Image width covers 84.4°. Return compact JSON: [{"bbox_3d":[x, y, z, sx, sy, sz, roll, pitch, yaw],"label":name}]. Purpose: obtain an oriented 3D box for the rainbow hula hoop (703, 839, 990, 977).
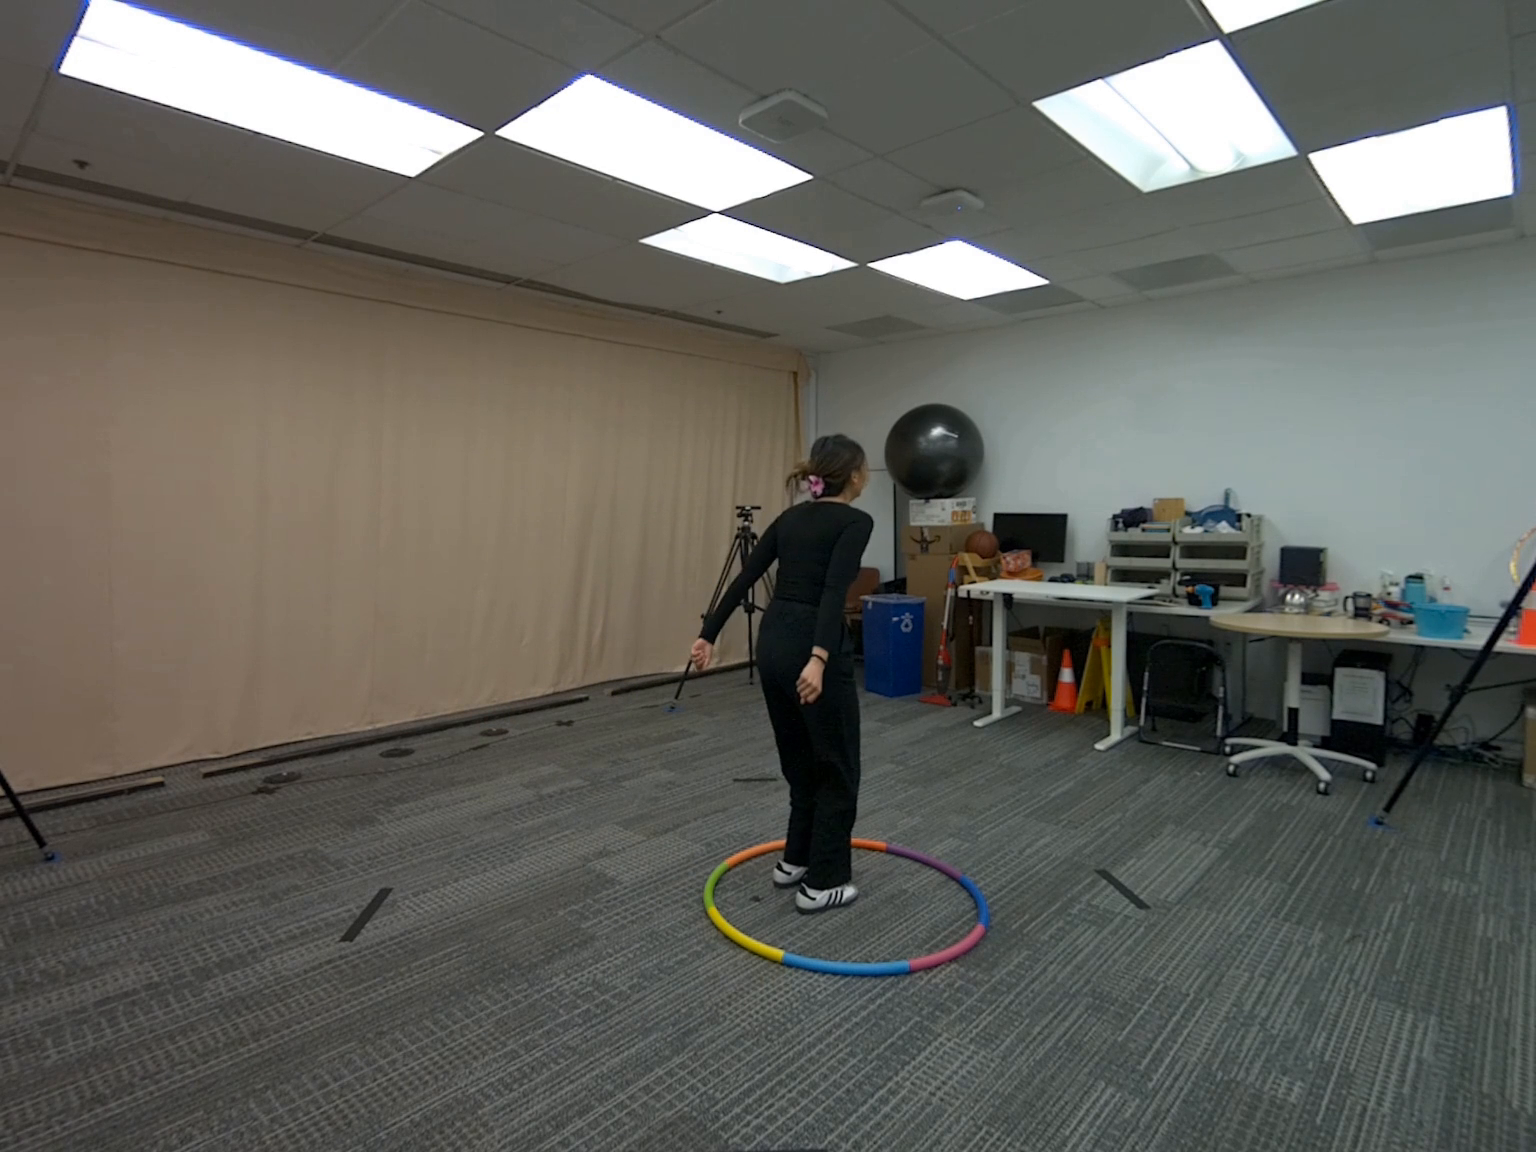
[{"bbox_3d":[0.264,1.117,2.971,0.978,0.035,0.982,0,5,-2],"label":"rainbow hula hoop"}]
